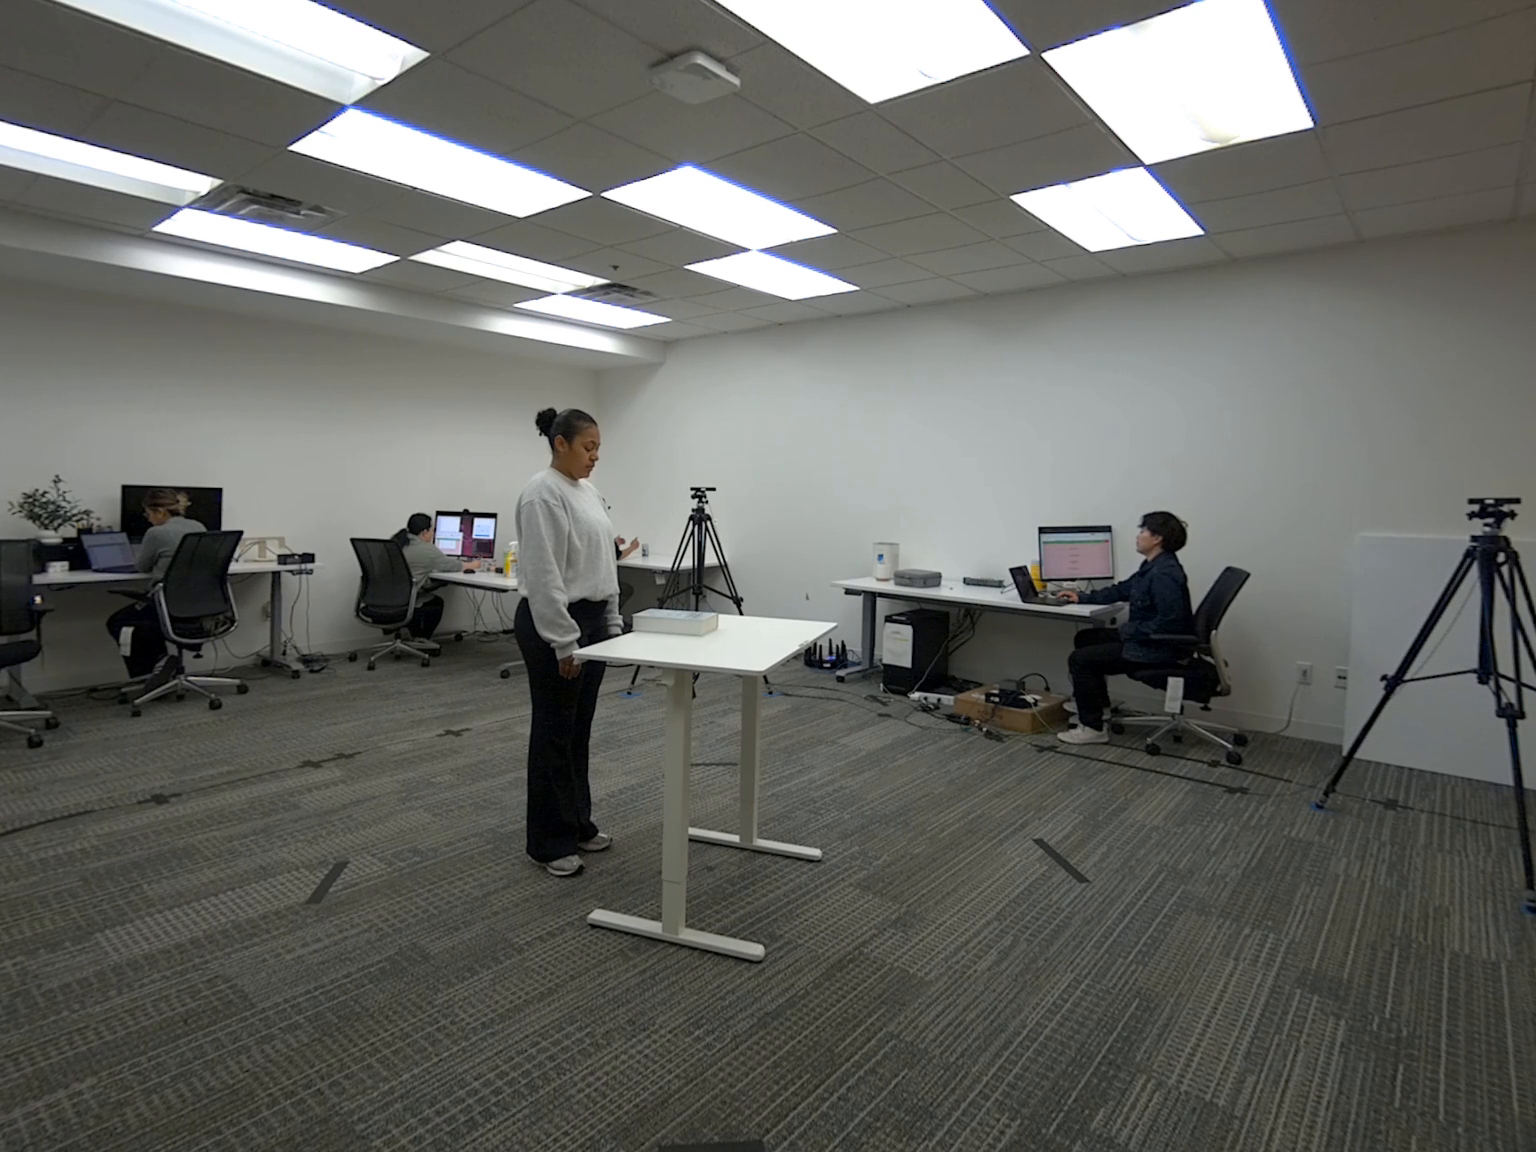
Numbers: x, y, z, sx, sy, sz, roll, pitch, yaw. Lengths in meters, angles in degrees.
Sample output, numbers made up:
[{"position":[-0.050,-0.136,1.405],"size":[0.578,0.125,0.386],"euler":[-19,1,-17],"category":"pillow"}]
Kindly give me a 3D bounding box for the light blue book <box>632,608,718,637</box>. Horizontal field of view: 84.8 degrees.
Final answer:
[{"position":[-0.331,0.162,3.001],"size":[0.265,0.059,0.189],"euler":[3,5,15],"category":"light blue book"}]
